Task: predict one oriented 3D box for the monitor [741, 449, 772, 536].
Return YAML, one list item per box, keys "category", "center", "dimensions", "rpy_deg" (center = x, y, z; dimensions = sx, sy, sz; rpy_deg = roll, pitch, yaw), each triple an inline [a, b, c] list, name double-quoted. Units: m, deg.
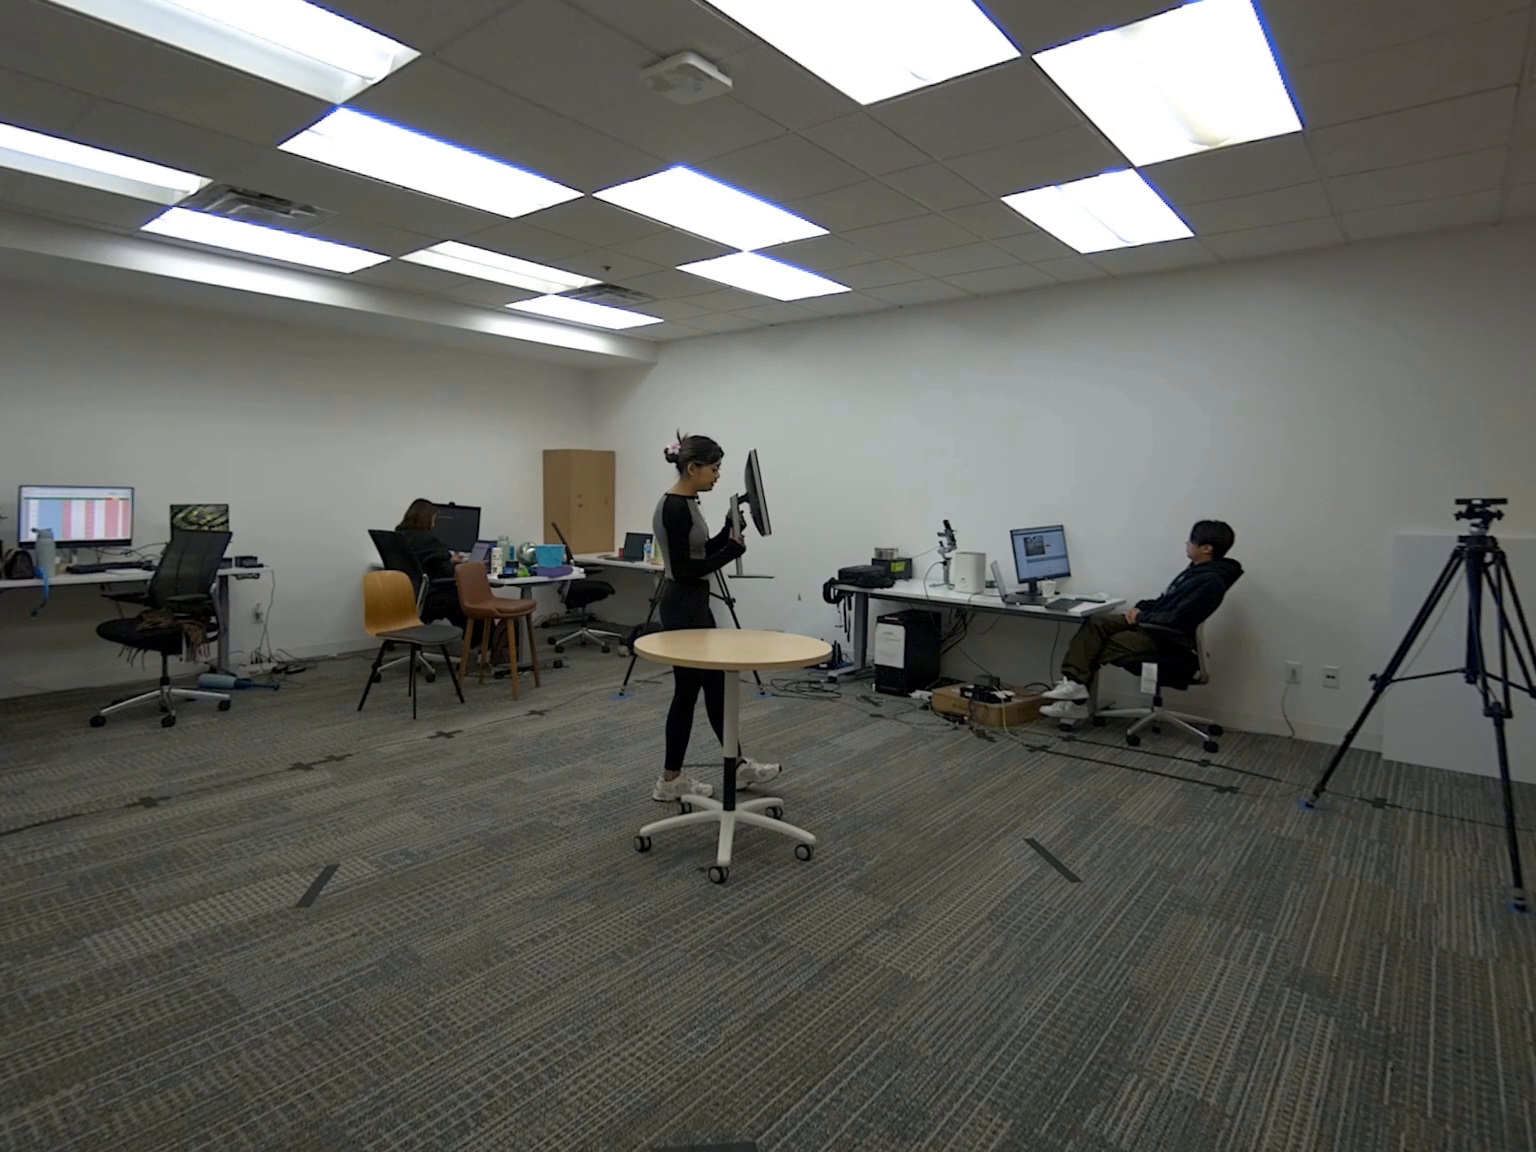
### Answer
- category: "monitor"
  center: [-0.087, -0.263, 3.779]
  dimensions: [0.186, 0.523, 0.540]
  rpy_deg: [1, 0, -4]
